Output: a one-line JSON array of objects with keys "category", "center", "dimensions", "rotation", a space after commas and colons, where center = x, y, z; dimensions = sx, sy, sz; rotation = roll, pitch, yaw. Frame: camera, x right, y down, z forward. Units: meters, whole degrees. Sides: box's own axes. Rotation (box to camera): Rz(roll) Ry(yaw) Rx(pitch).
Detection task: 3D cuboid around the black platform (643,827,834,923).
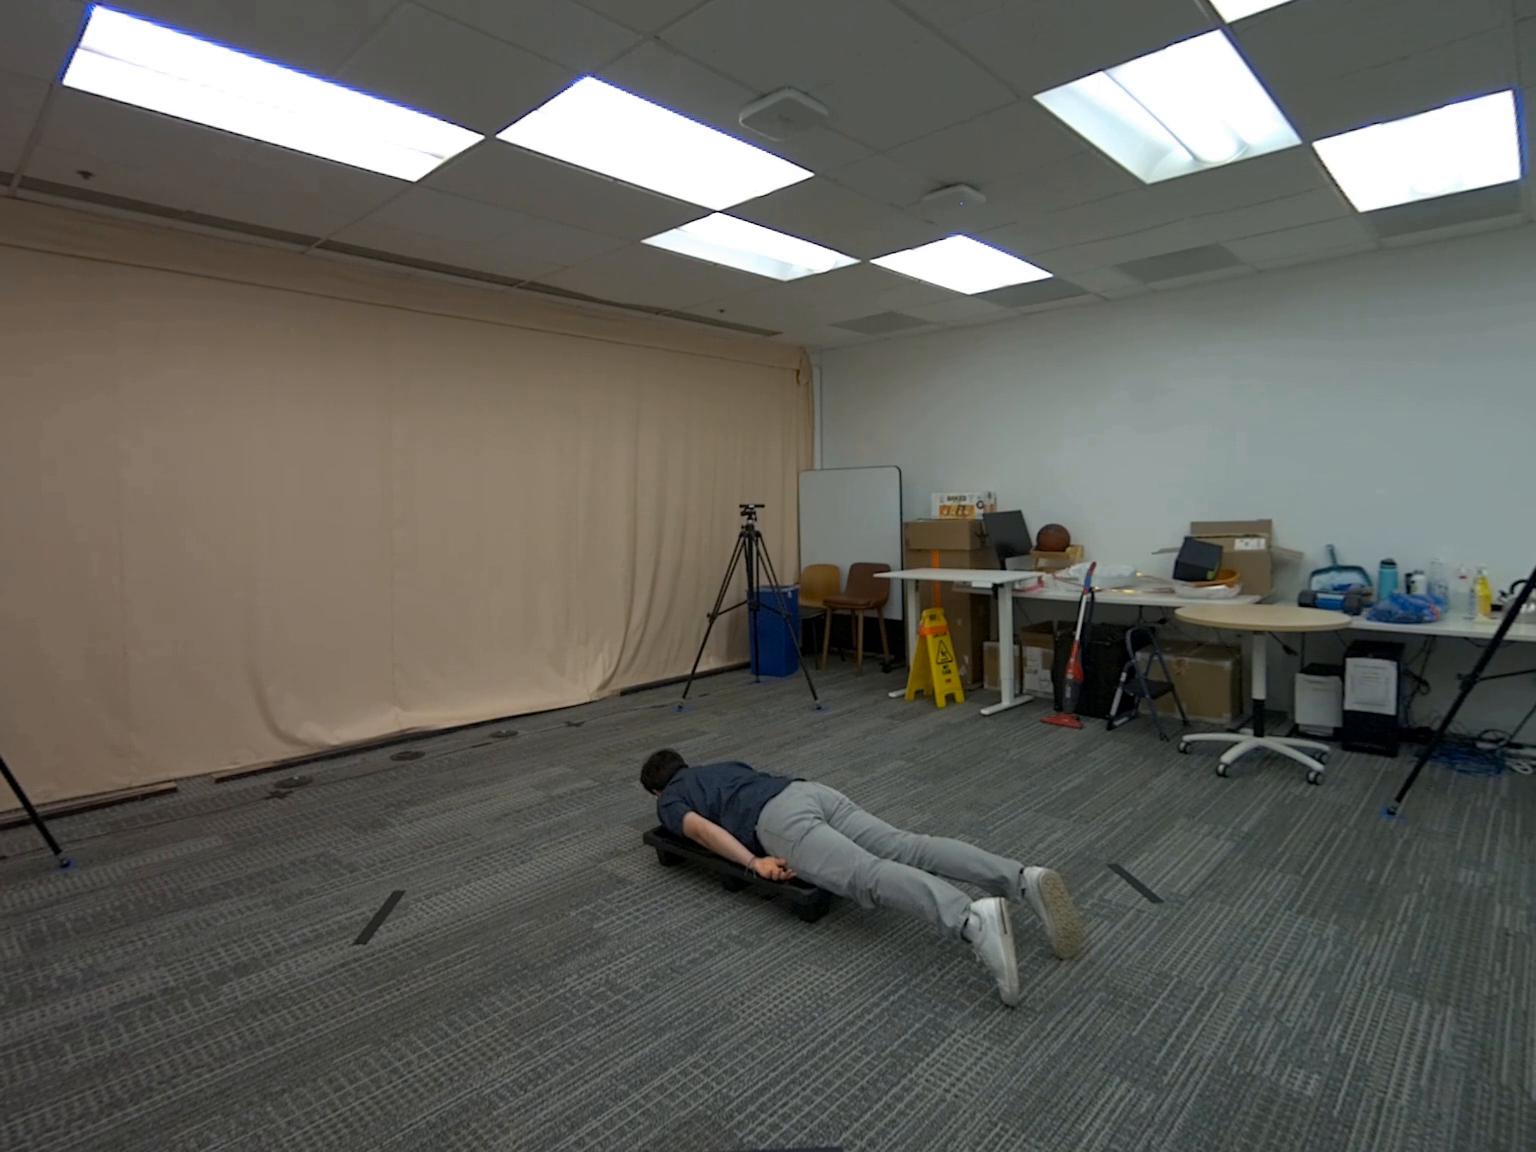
[{"category": "black platform", "center": [0.018, 1.060, 3.203], "dimensions": [0.832, 0.143, 0.587], "rotation": [3, 6, 40]}]
